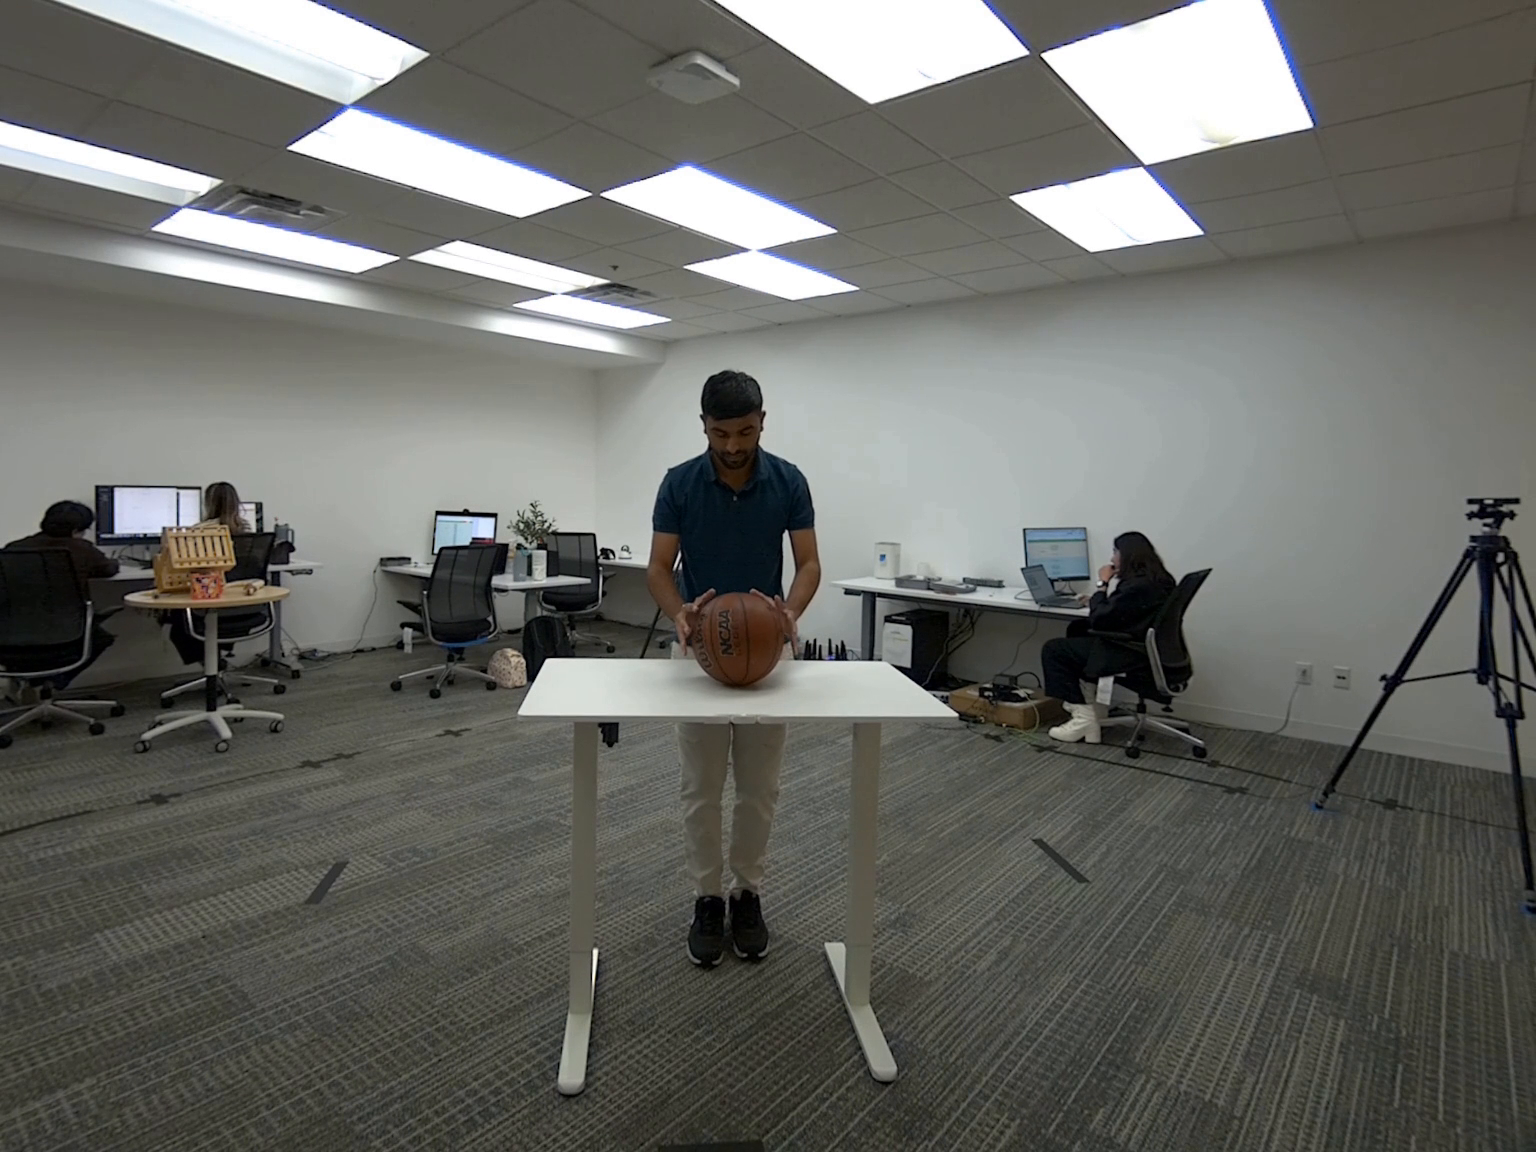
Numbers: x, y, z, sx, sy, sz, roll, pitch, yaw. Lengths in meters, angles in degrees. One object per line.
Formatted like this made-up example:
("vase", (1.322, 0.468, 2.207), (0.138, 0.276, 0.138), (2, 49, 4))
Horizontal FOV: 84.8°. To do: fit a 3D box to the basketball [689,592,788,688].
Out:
("basketball", (-0.078, 0.160, 2.197), (0.235, 0.235, 0.237), (1, 4, -2))
